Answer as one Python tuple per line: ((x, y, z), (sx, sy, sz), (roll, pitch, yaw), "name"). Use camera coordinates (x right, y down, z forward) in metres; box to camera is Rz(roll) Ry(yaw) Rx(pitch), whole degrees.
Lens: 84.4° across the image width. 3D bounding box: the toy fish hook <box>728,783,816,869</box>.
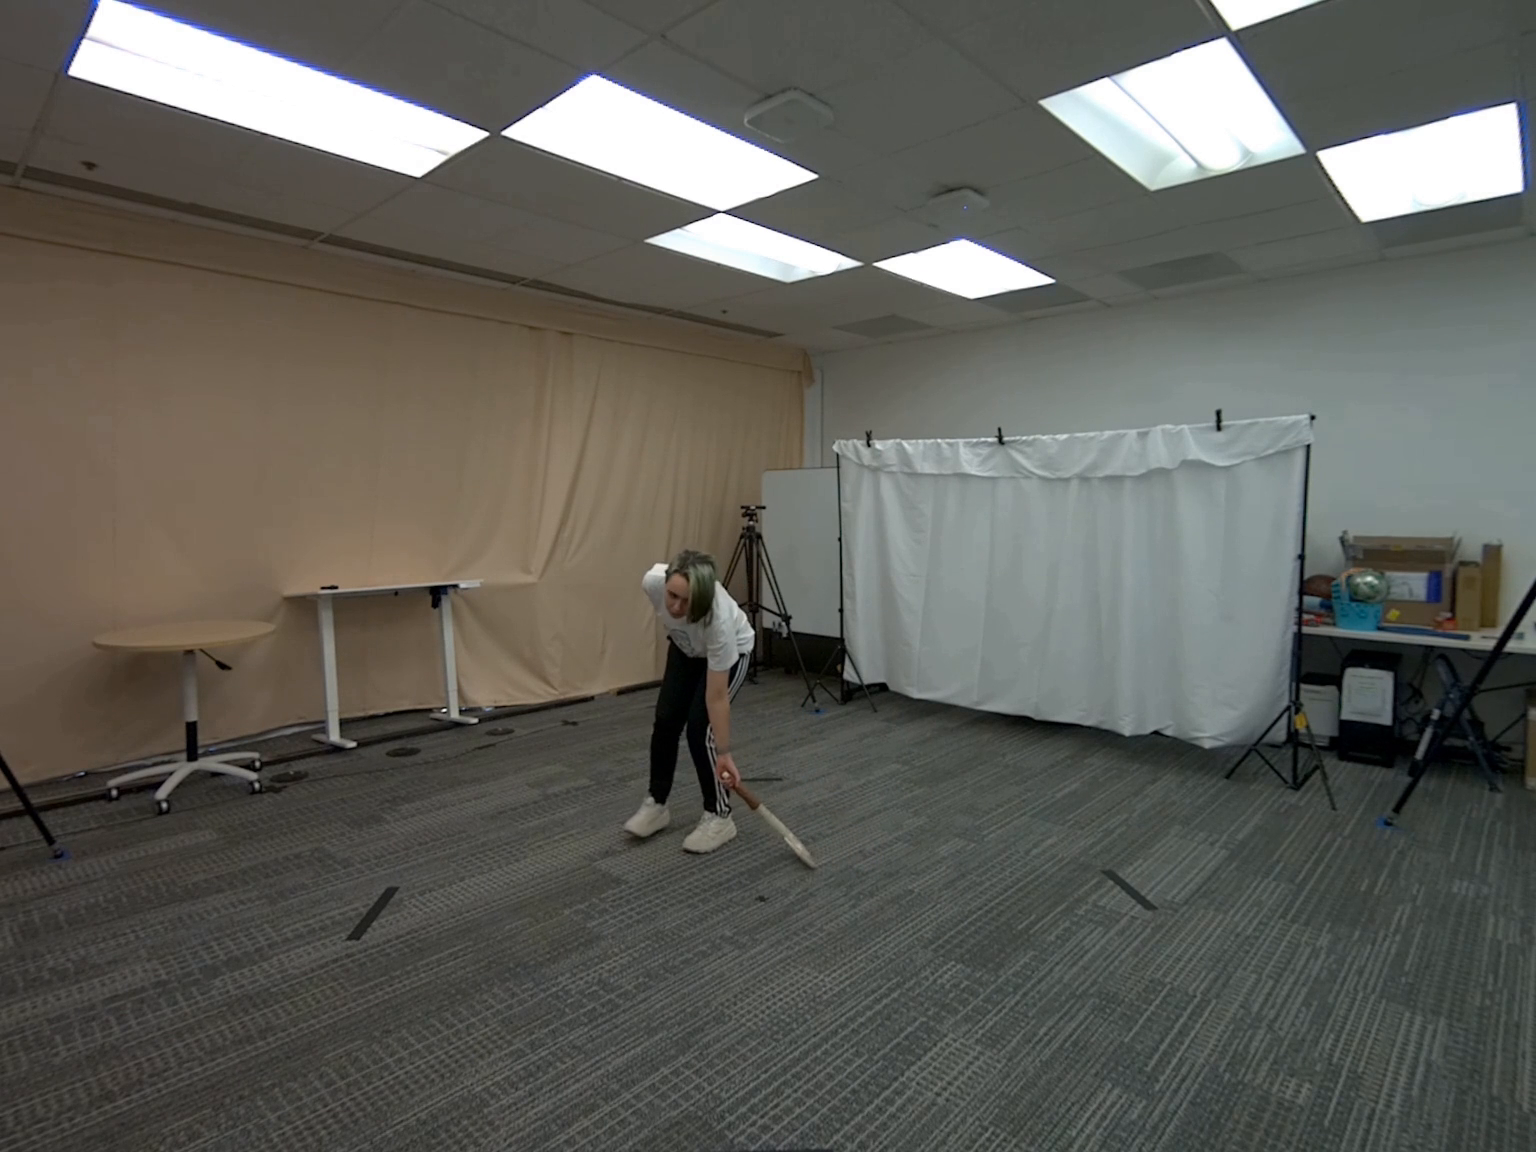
((0.006, 0.934, 3.228), (0.048, 0.500, 0.228), (-45, 11, -9), "toy fish hook")
